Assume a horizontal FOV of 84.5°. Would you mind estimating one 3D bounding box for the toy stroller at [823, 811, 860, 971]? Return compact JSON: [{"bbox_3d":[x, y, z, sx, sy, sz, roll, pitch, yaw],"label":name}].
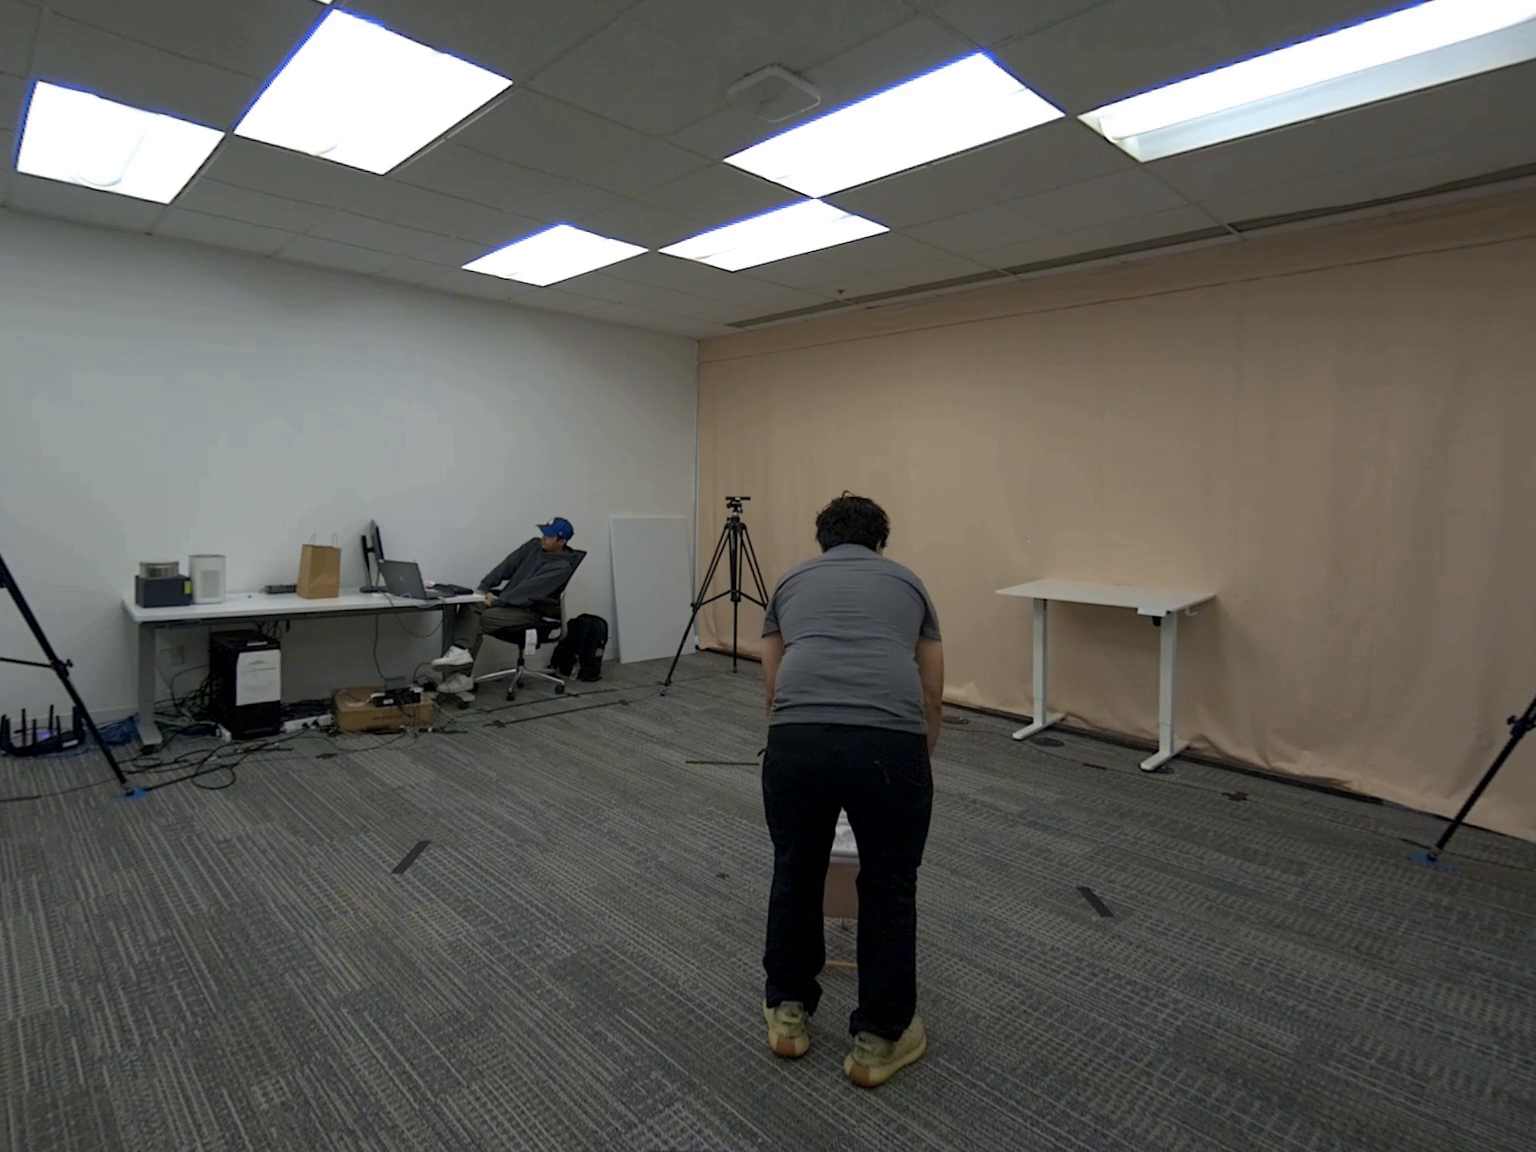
[{"bbox_3d":[0.228,0.947,2.554,0.284,0.528,0.343,3,19,8],"label":"toy stroller"}]
